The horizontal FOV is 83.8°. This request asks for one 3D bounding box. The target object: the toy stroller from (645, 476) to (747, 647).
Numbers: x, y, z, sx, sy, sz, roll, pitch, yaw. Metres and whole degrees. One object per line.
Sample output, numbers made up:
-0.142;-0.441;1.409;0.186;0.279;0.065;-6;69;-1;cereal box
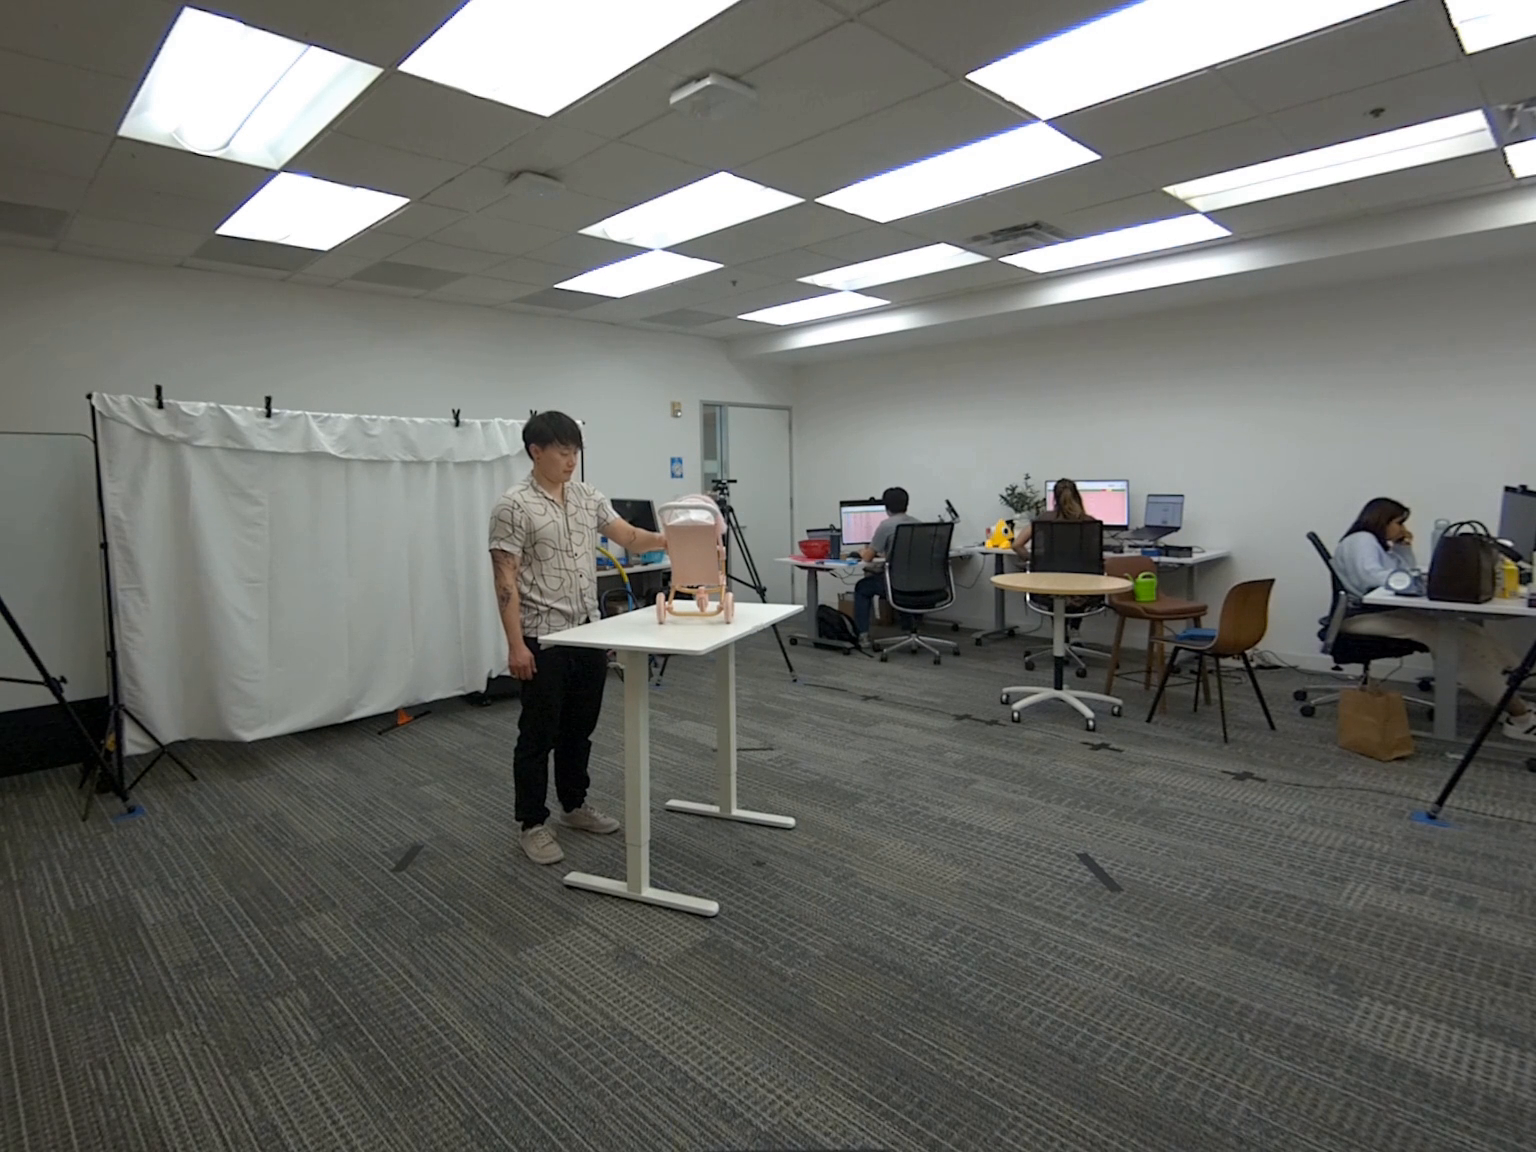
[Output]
-0.253;-0.065;3.147;0.284;0.526;0.344;0;19;8;toy stroller
